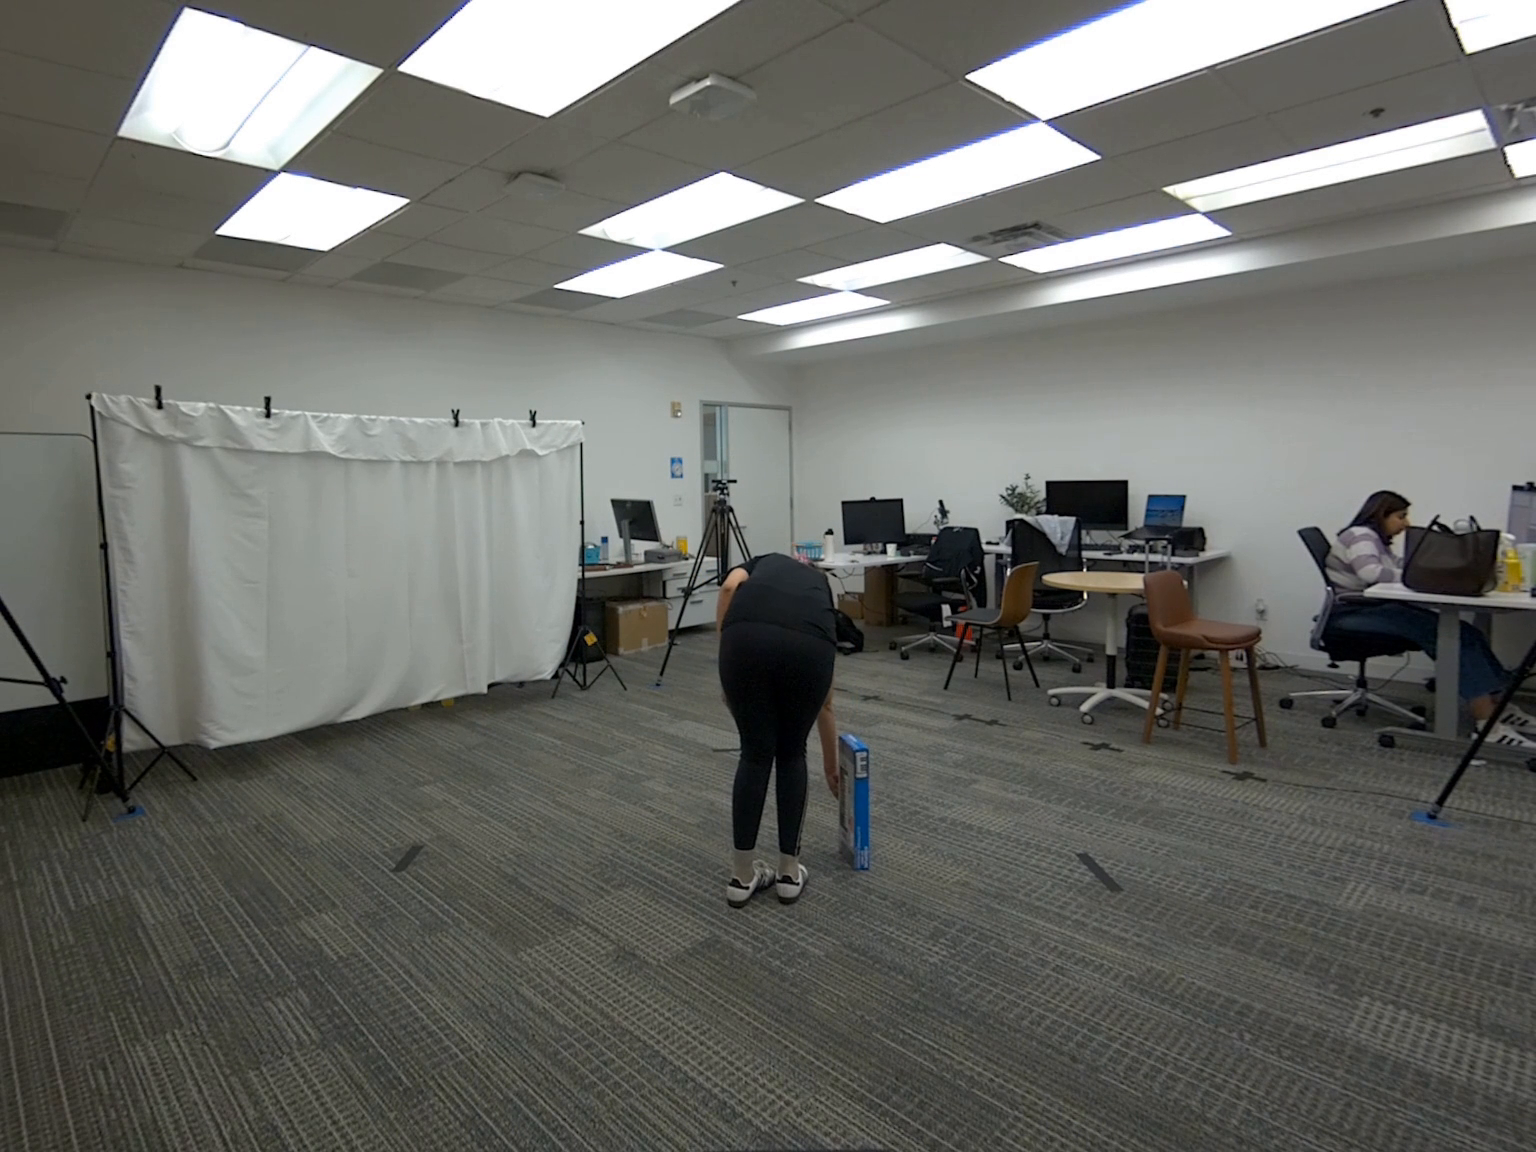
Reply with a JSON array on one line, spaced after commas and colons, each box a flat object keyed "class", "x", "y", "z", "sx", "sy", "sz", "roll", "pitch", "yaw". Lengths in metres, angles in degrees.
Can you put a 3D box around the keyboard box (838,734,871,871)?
[{"class": "keyboard box", "x": 0.319, "y": 0.824, "z": 3.114, "sx": 0.058, "sy": 0.436, "sz": 0.178, "roll": 0, "pitch": 3, "yaw": -13}]
